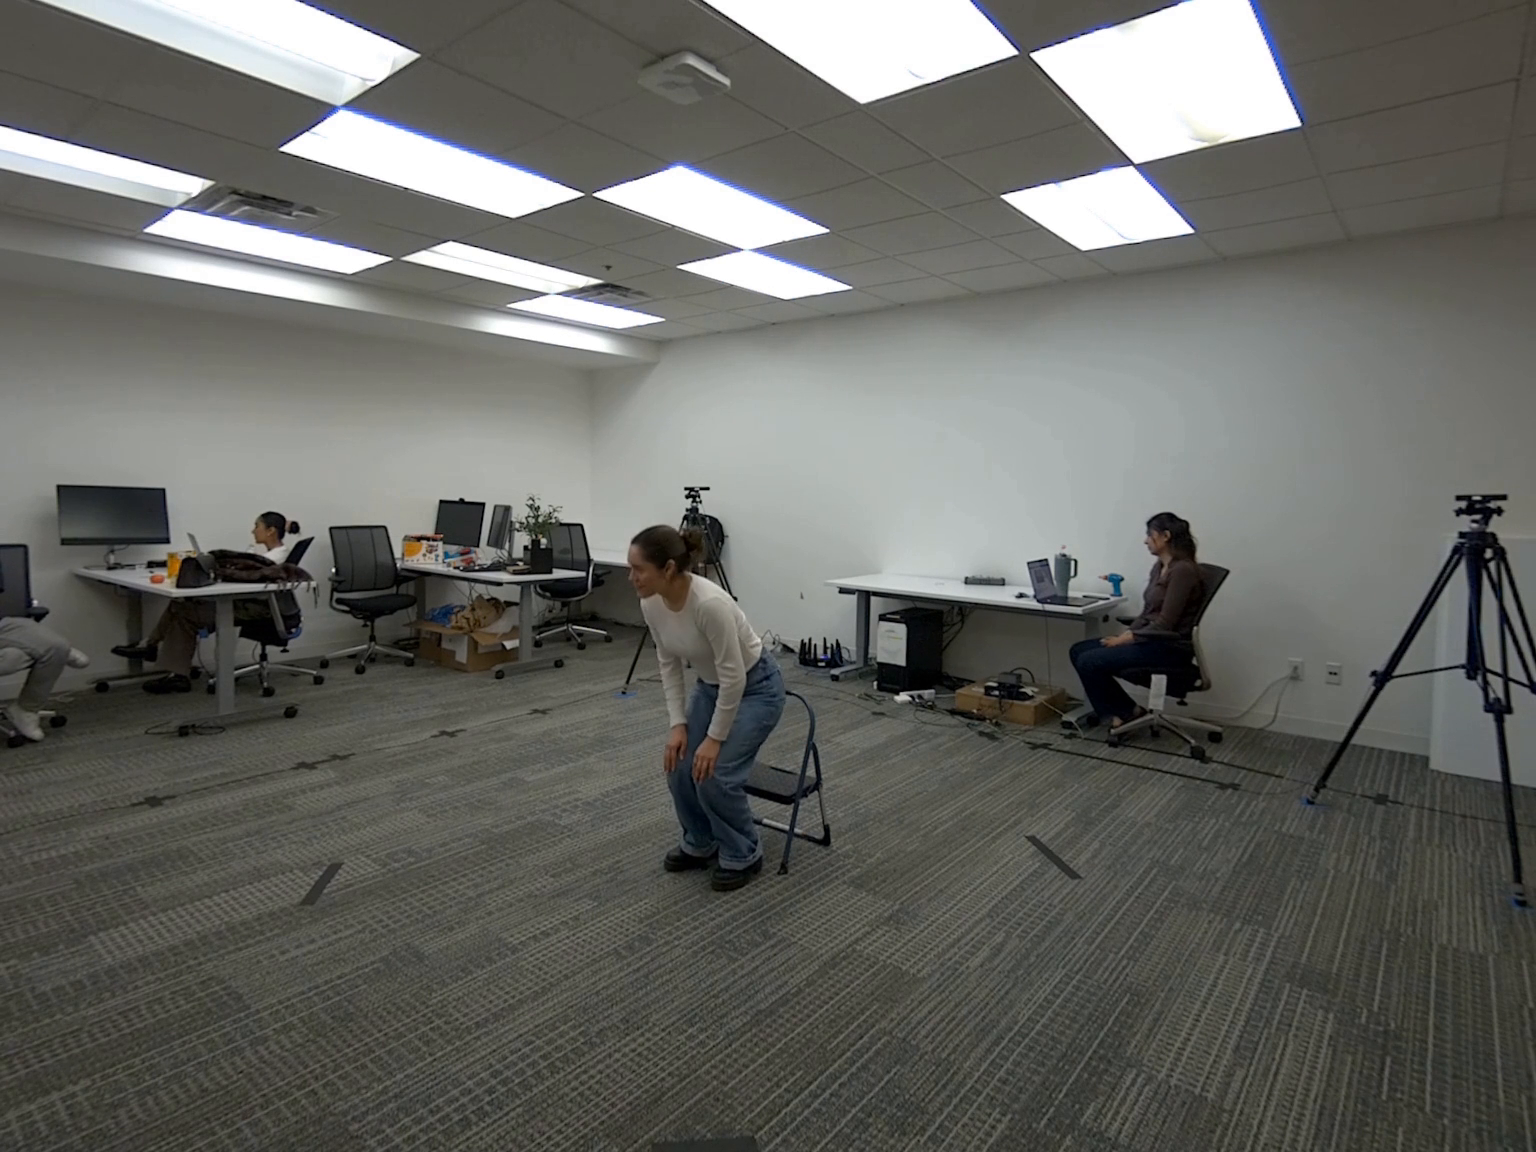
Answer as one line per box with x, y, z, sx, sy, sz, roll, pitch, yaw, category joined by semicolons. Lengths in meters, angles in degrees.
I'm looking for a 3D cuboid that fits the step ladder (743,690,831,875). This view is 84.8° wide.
-0.017;0.743;3.316;0.445;0.604;0.339;4;5;37;step ladder
